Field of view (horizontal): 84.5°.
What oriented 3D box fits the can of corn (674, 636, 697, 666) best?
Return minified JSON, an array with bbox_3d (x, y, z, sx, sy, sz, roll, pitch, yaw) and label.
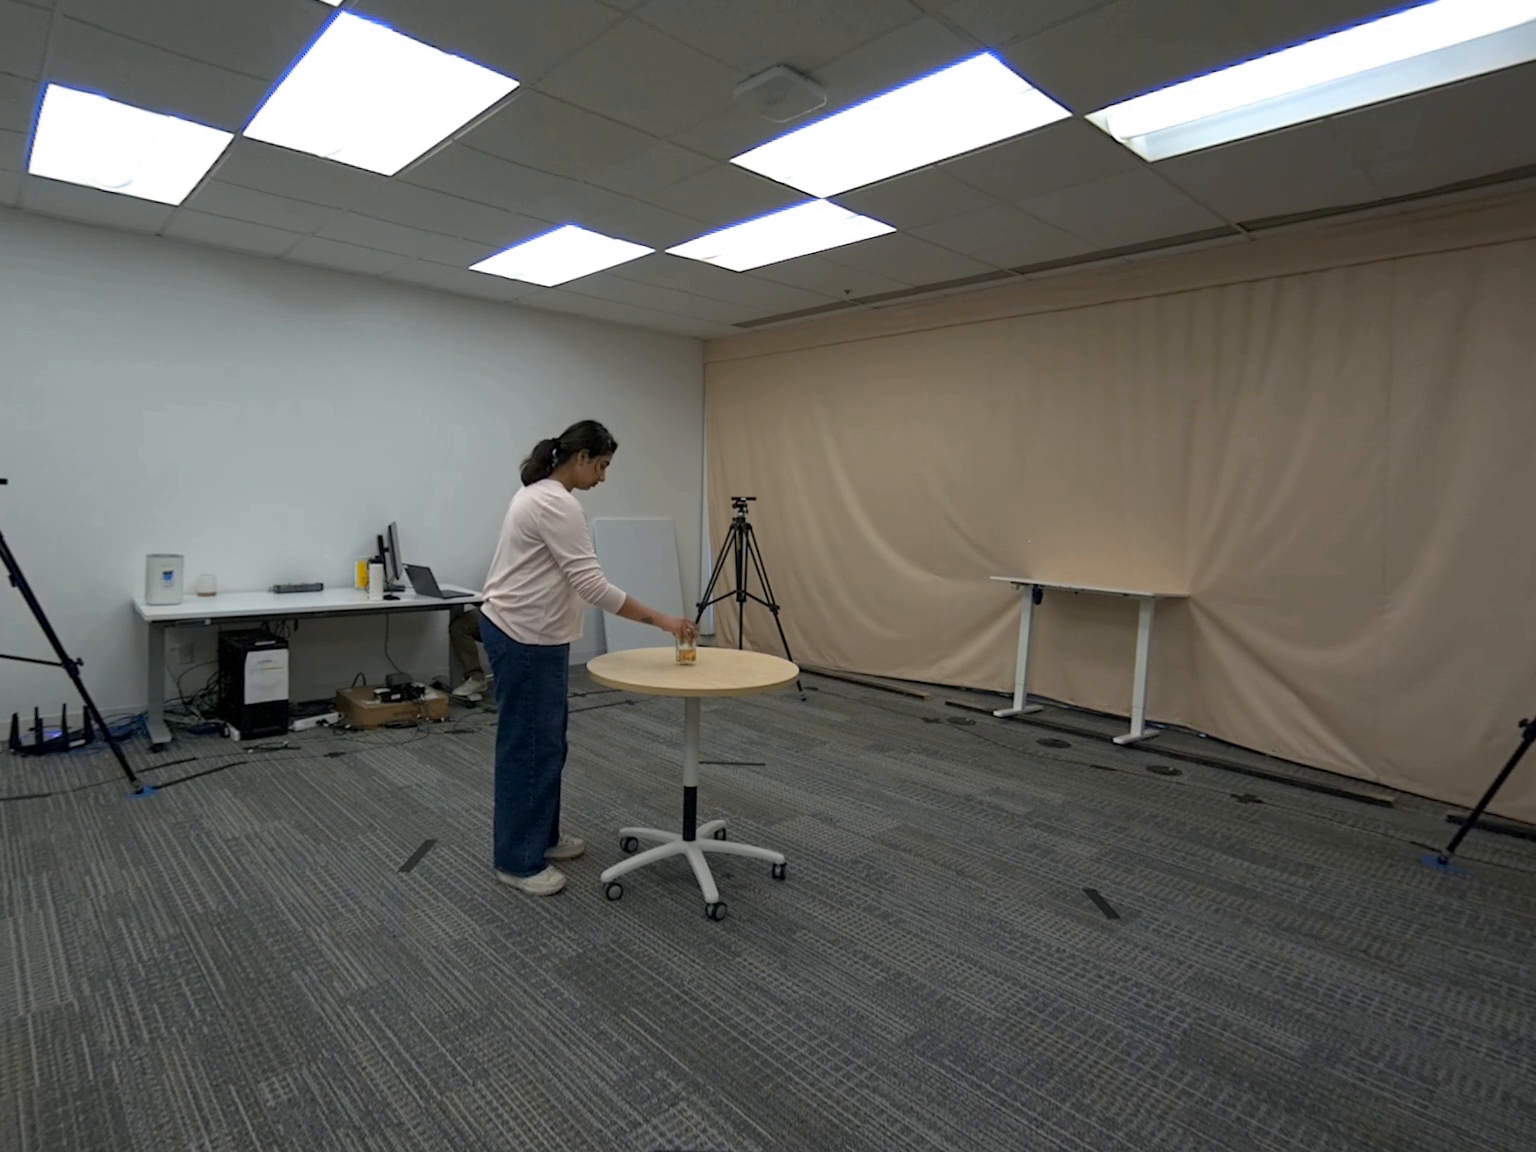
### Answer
[{"bbox_3d":[-0.311,0.252,3.053,0.074,0.111,0.074,-2,4,-1],"label":"can of corn"}]
